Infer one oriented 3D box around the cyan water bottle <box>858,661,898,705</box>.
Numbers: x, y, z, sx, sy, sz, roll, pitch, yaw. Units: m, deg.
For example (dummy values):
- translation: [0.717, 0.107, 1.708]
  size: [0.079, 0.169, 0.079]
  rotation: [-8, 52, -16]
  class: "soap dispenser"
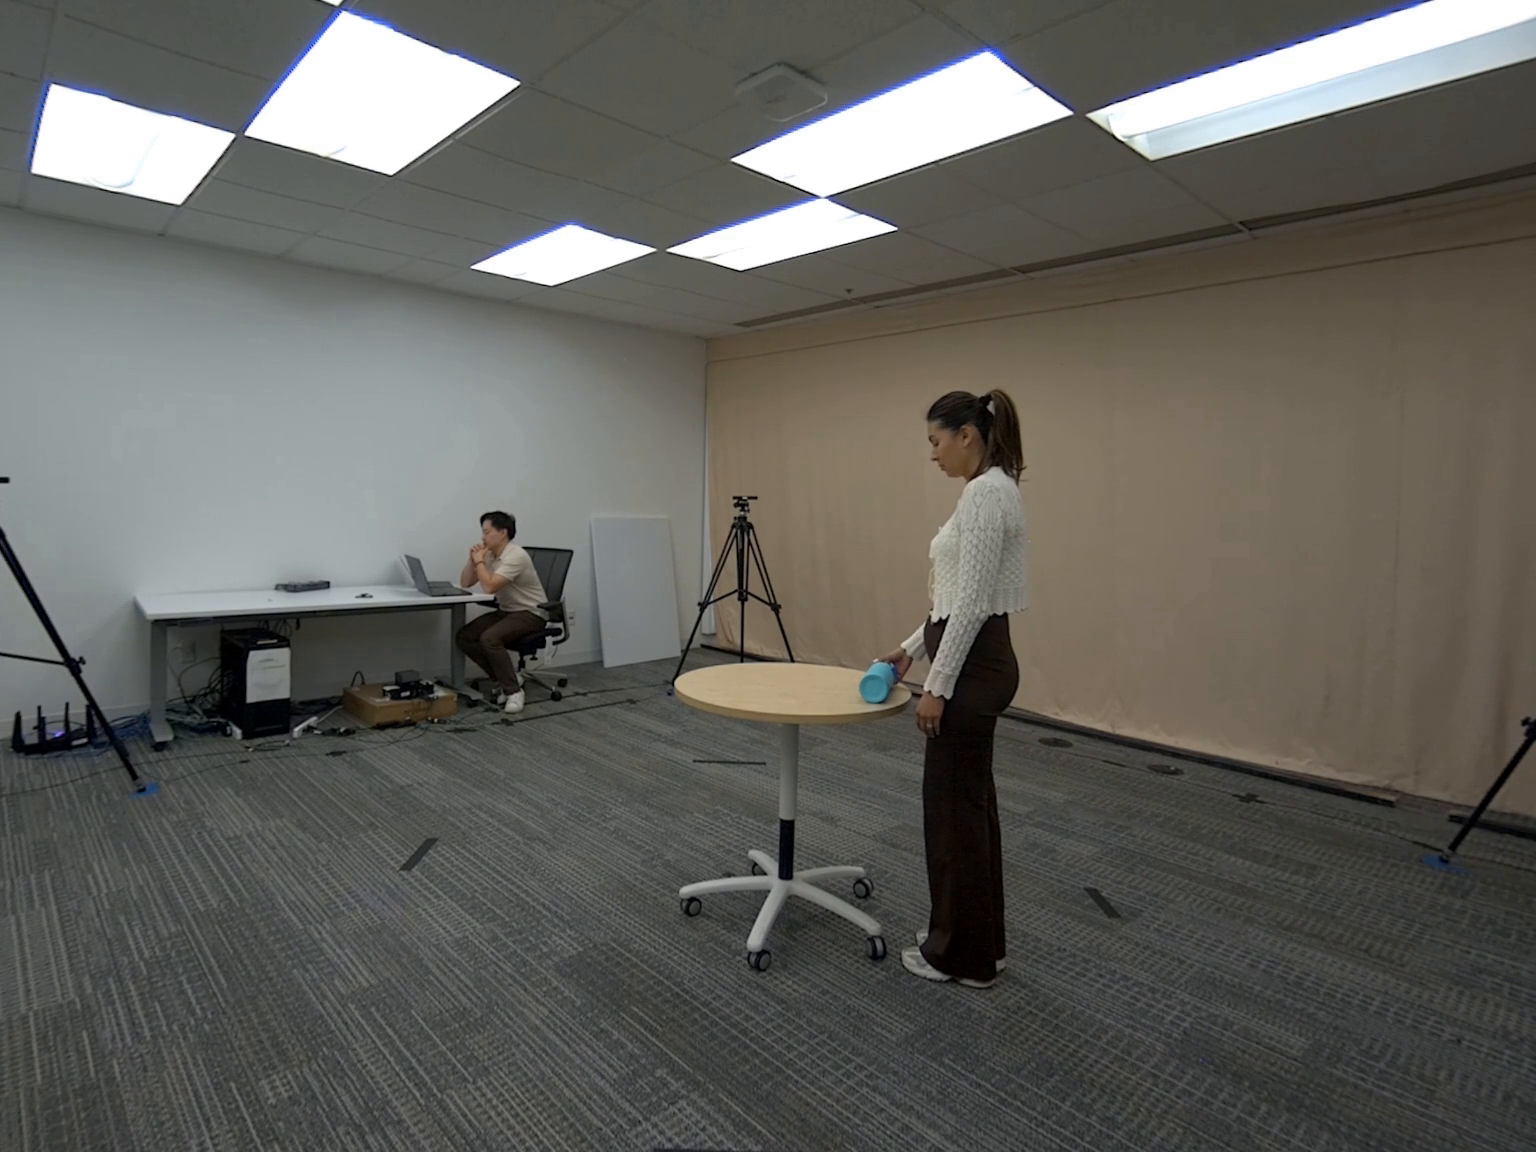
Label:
- translation: [0.350, 0.330, 2.644]
  size: [0.093, 0.092, 0.281]
  rotation: [2, 3, 10]
  class: "cyan water bottle"
